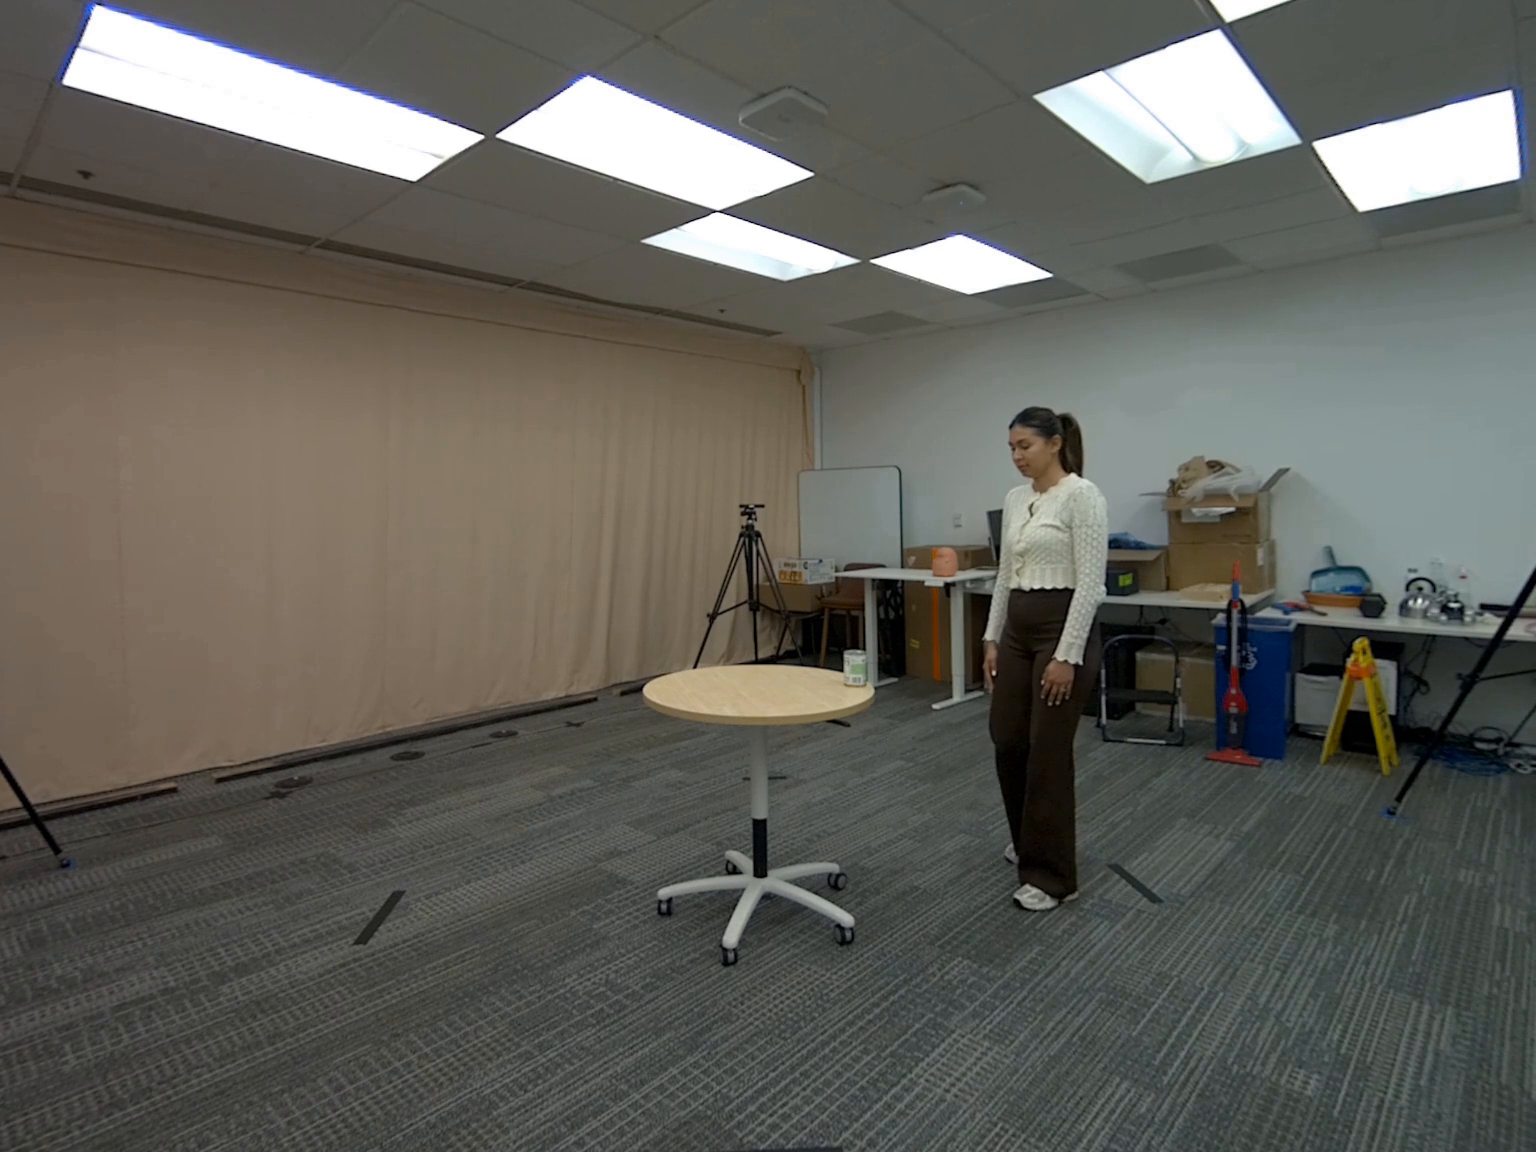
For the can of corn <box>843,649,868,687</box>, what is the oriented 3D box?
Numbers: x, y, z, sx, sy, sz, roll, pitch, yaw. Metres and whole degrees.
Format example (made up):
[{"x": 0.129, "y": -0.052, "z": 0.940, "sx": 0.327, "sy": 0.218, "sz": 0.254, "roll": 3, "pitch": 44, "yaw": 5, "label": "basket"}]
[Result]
[{"x": 0.302, "y": 0.314, "z": 2.822, "sx": 0.074, "sy": 0.111, "sz": 0.074, "roll": 0, "pitch": 4, "yaw": -2, "label": "can of corn"}]
